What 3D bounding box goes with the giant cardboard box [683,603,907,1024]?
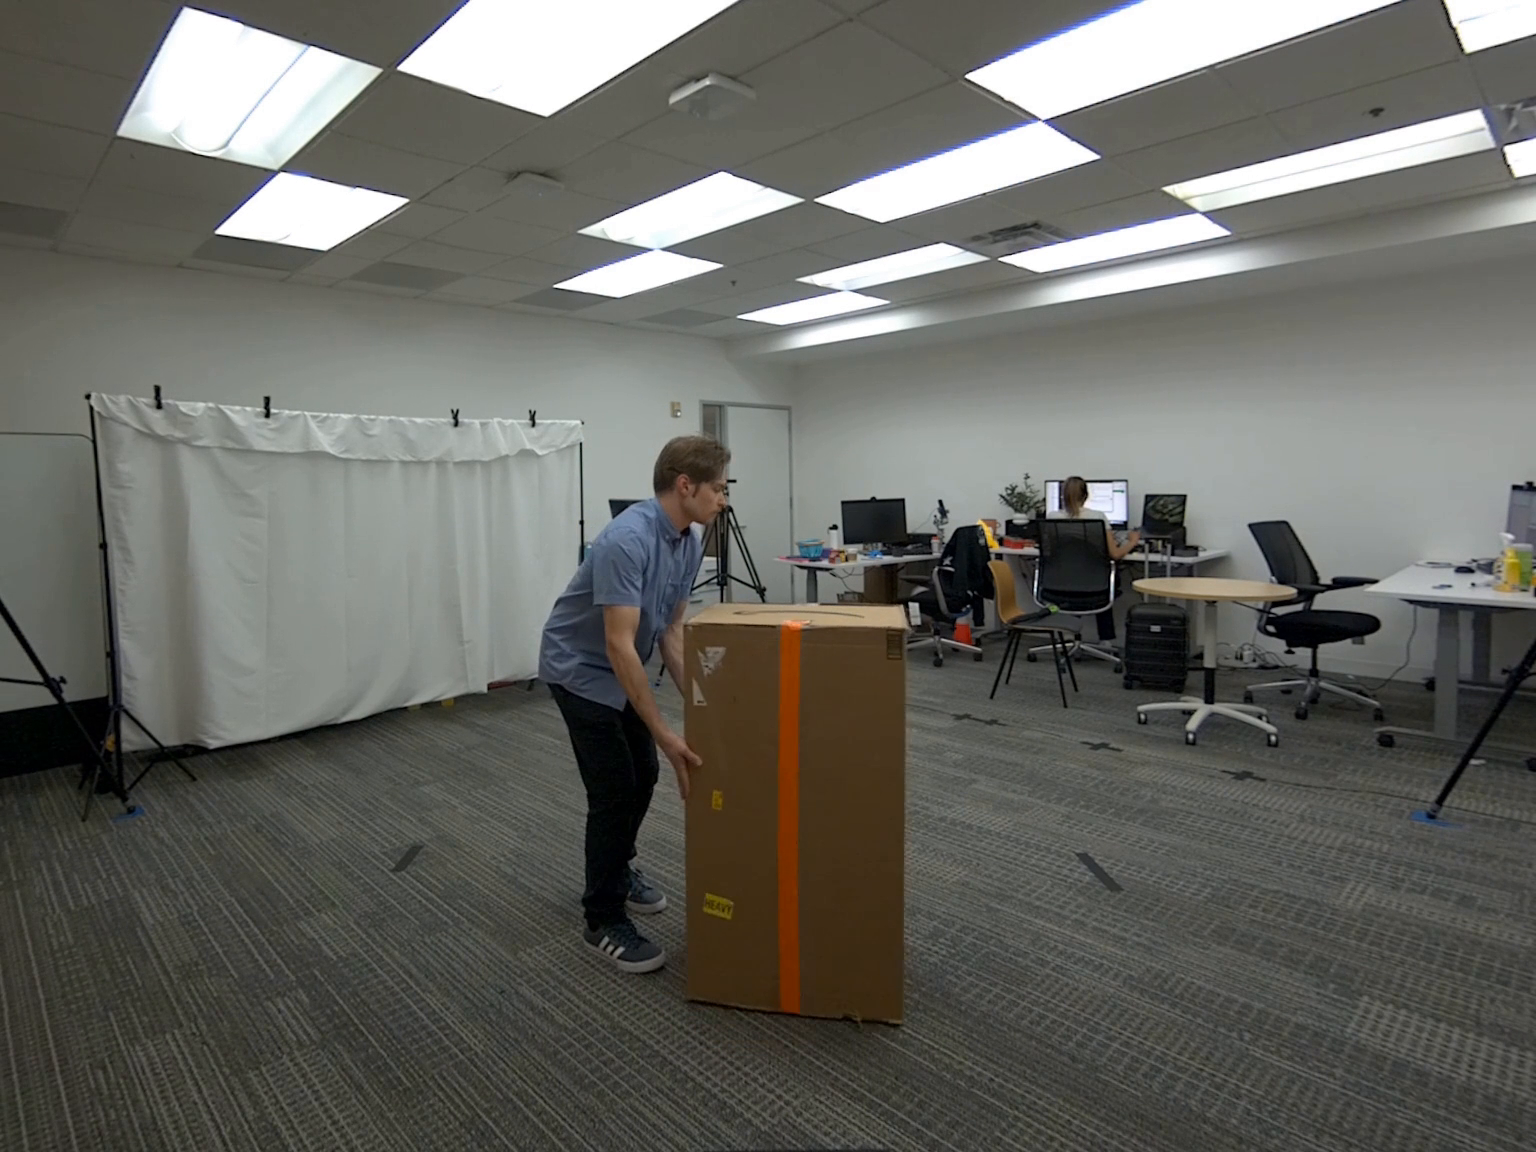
[{"bbox_3d":[0.090,0.612,2.410,0.584,1.023,0.422,0,3,11],"label":"giant cardboard box"}]
